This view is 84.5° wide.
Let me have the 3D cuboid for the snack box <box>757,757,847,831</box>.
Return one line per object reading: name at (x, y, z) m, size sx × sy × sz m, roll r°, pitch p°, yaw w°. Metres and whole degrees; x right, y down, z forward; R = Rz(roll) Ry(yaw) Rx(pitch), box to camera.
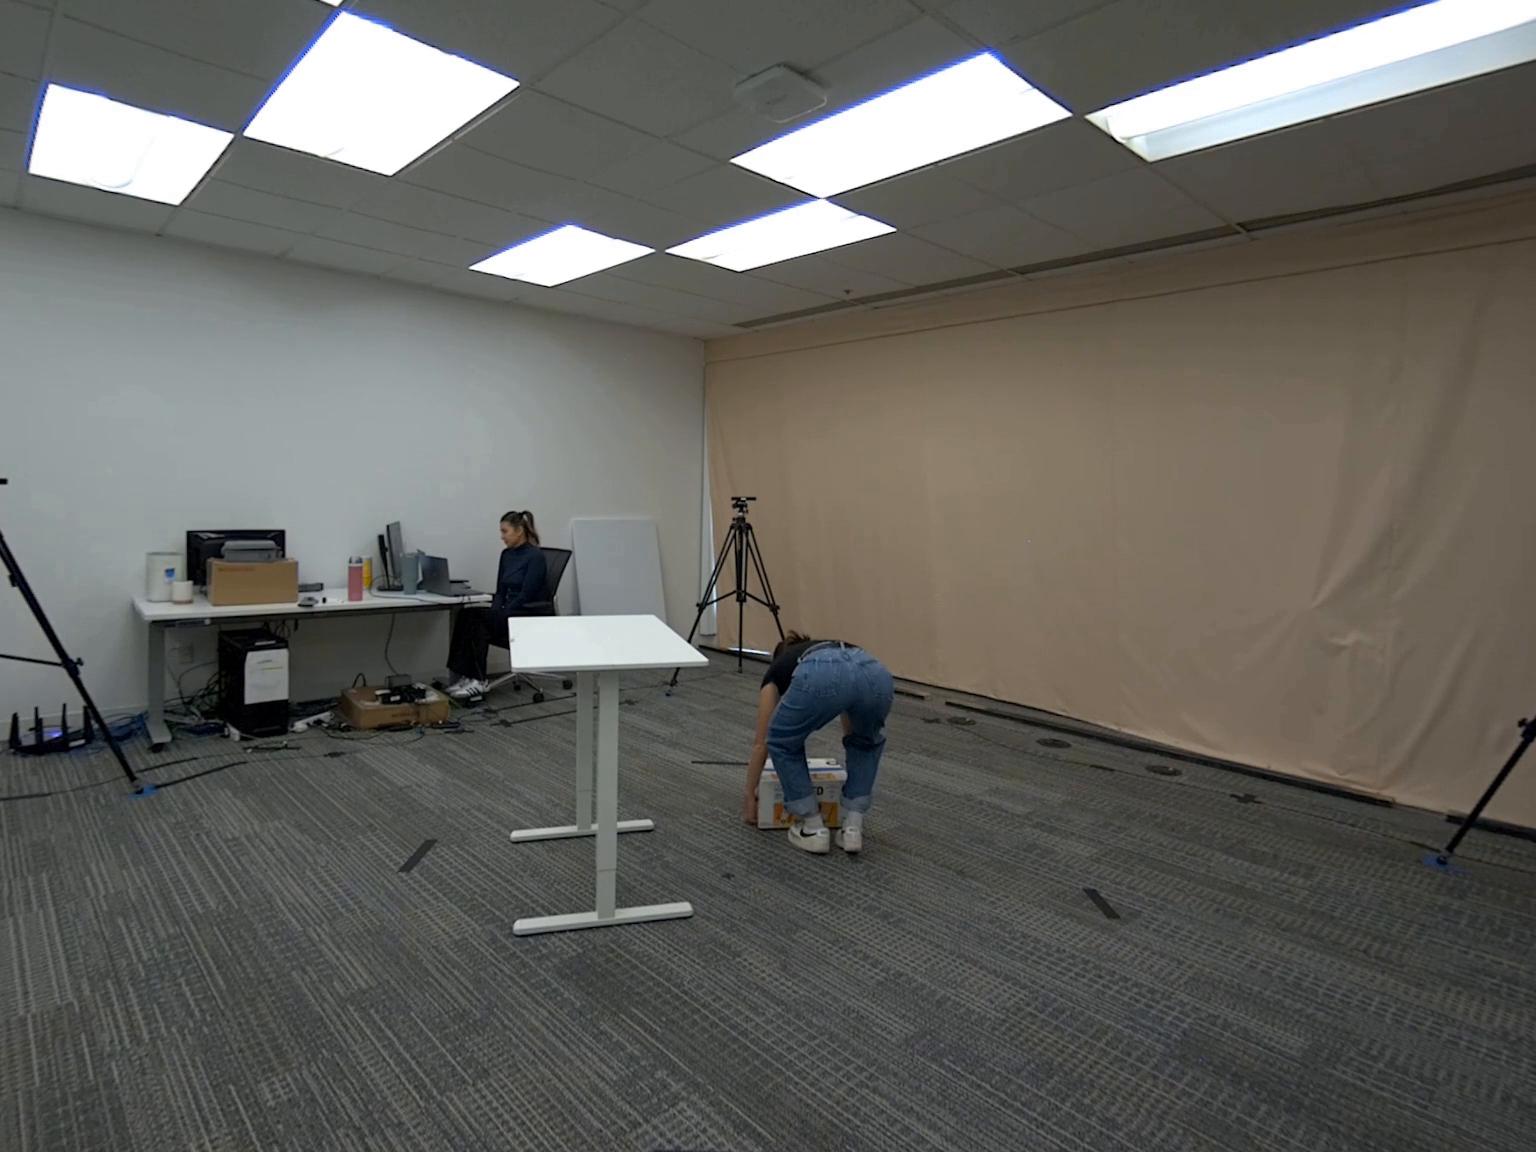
snack box at (0.126, 0.956, 3.723) m, size 0.402 × 0.205 × 0.343 m, roll 1°, pitch 3°, yaw -8°
